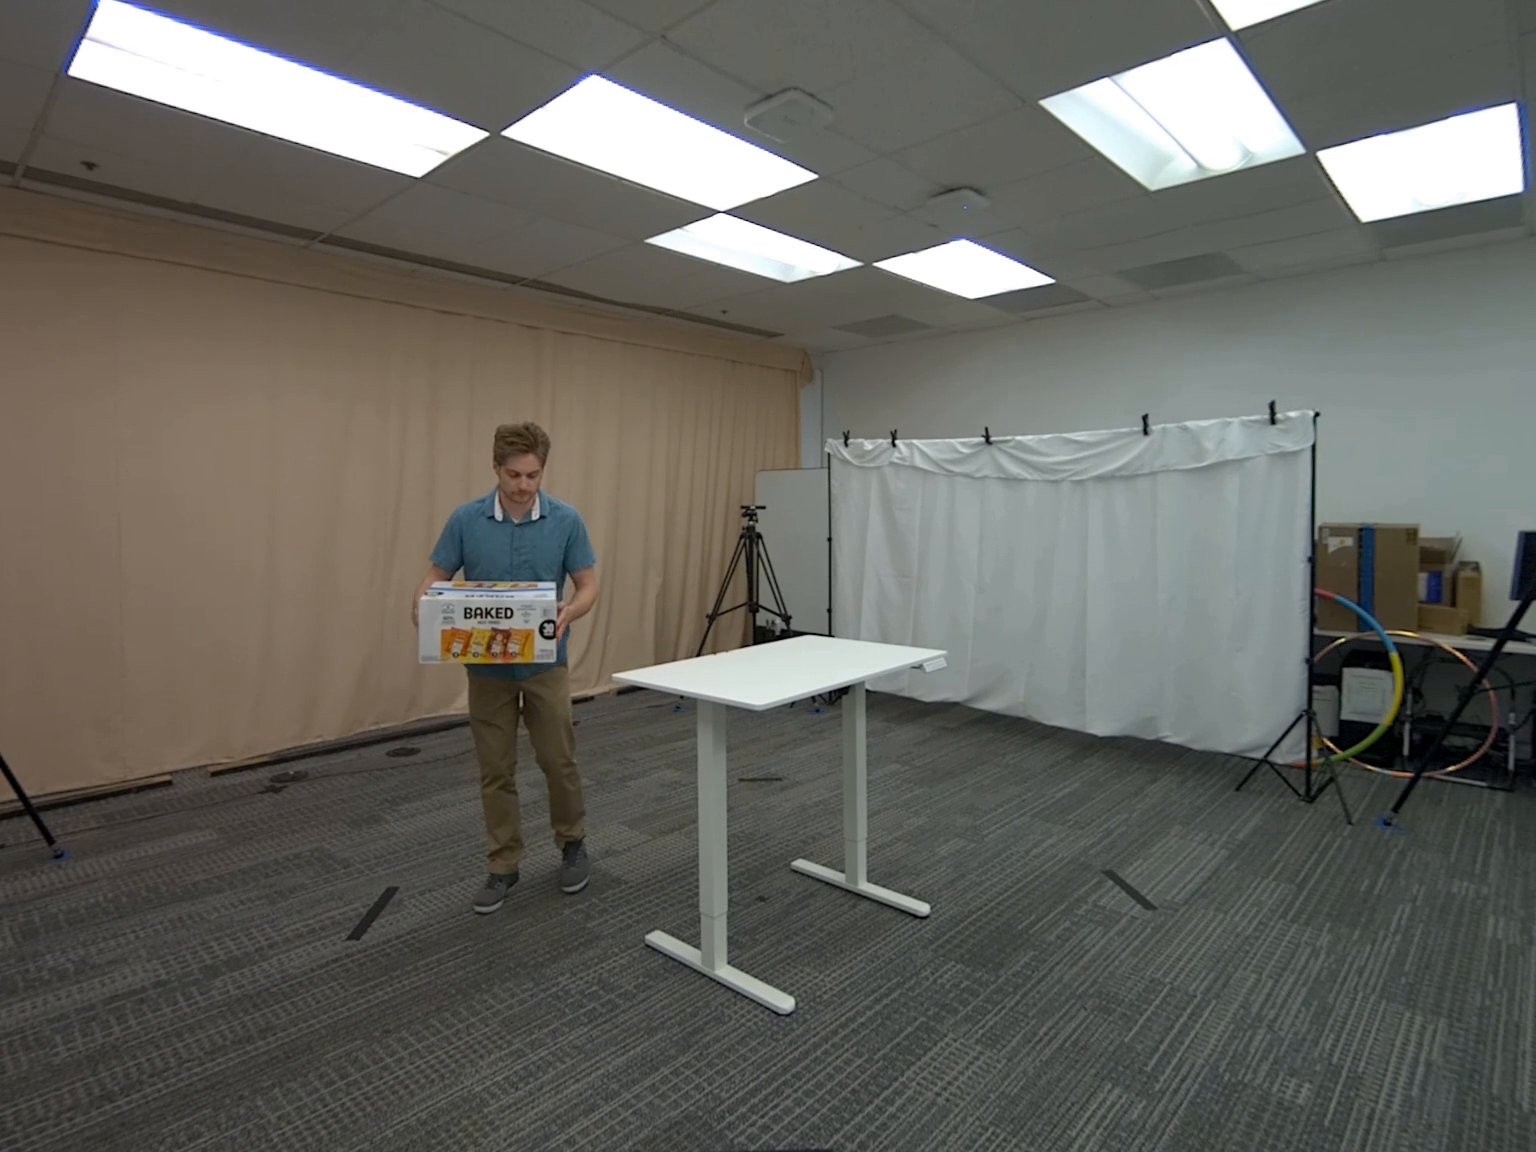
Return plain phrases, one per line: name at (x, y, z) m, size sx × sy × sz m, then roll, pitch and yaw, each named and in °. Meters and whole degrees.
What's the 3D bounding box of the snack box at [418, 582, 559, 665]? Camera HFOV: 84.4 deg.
snack box at (-0.887, 0.143, 2.716) m, size 0.400 × 0.205 × 0.346 m, roll 0°, pitch 7°, yaw -13°
